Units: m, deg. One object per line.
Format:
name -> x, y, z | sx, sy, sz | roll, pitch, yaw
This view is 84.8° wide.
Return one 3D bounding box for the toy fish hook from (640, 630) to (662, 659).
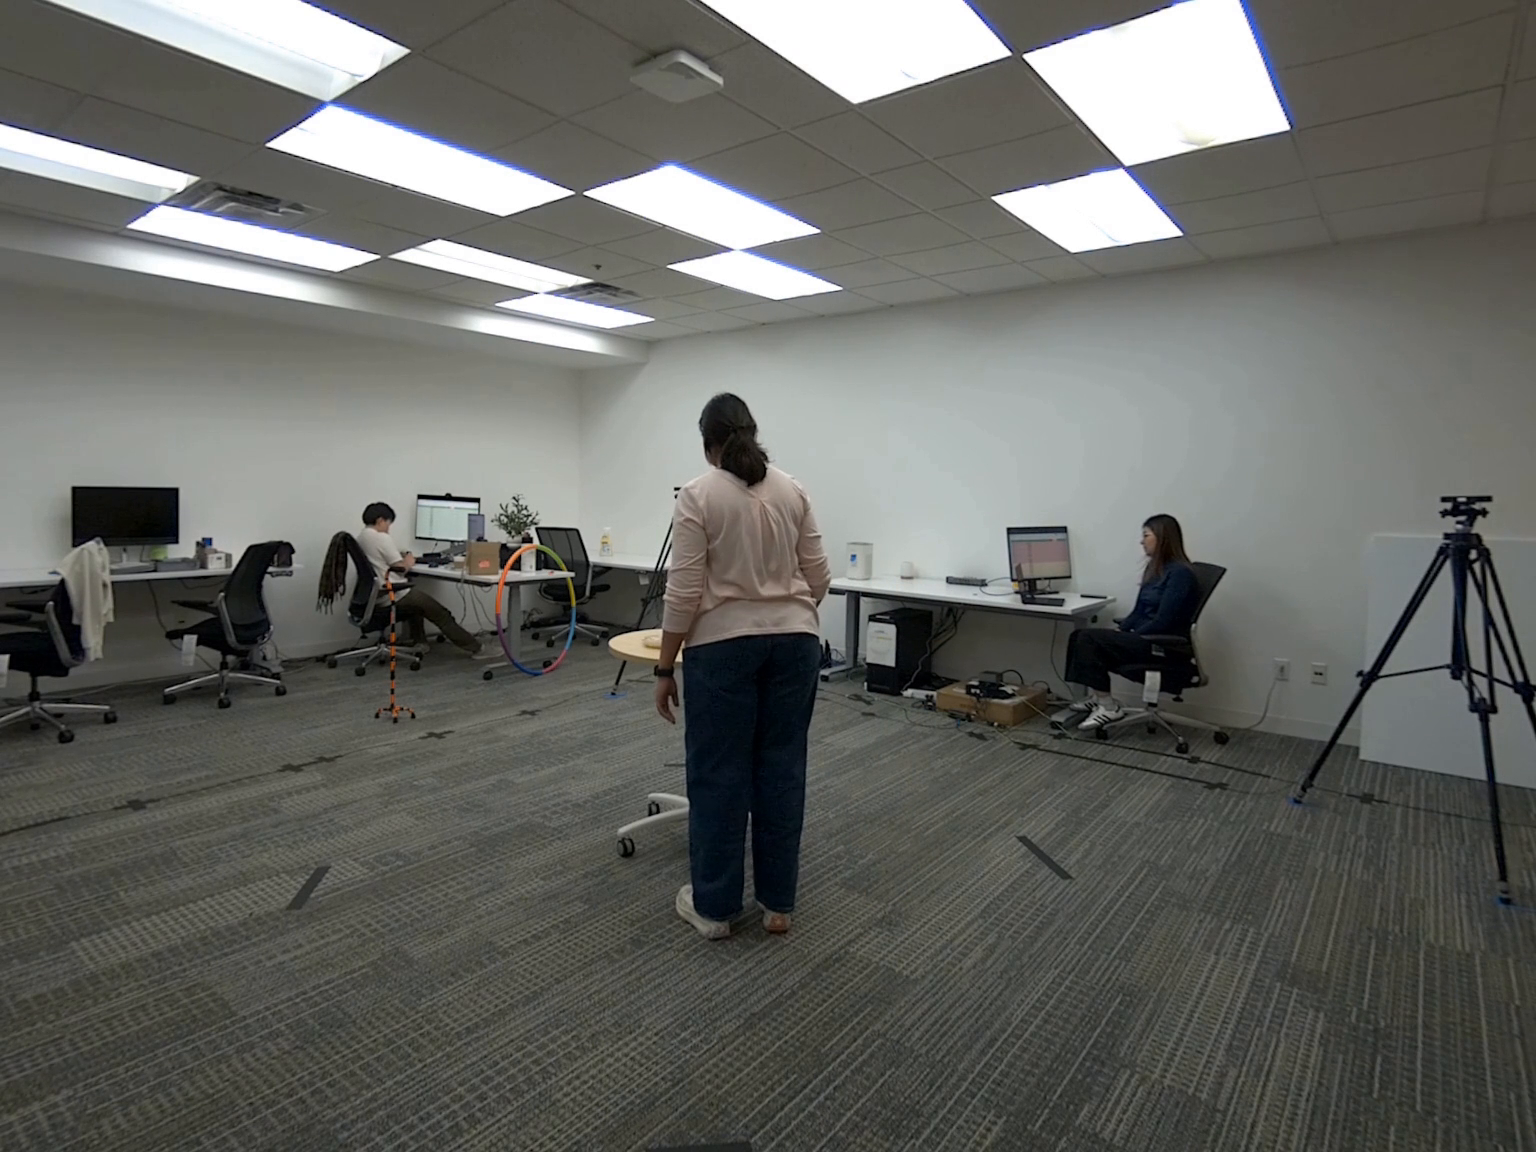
toy fish hook -> -0.230, 0.242, 3.295 | 0.501, 0.048, 0.228 | 0, 6, -11
